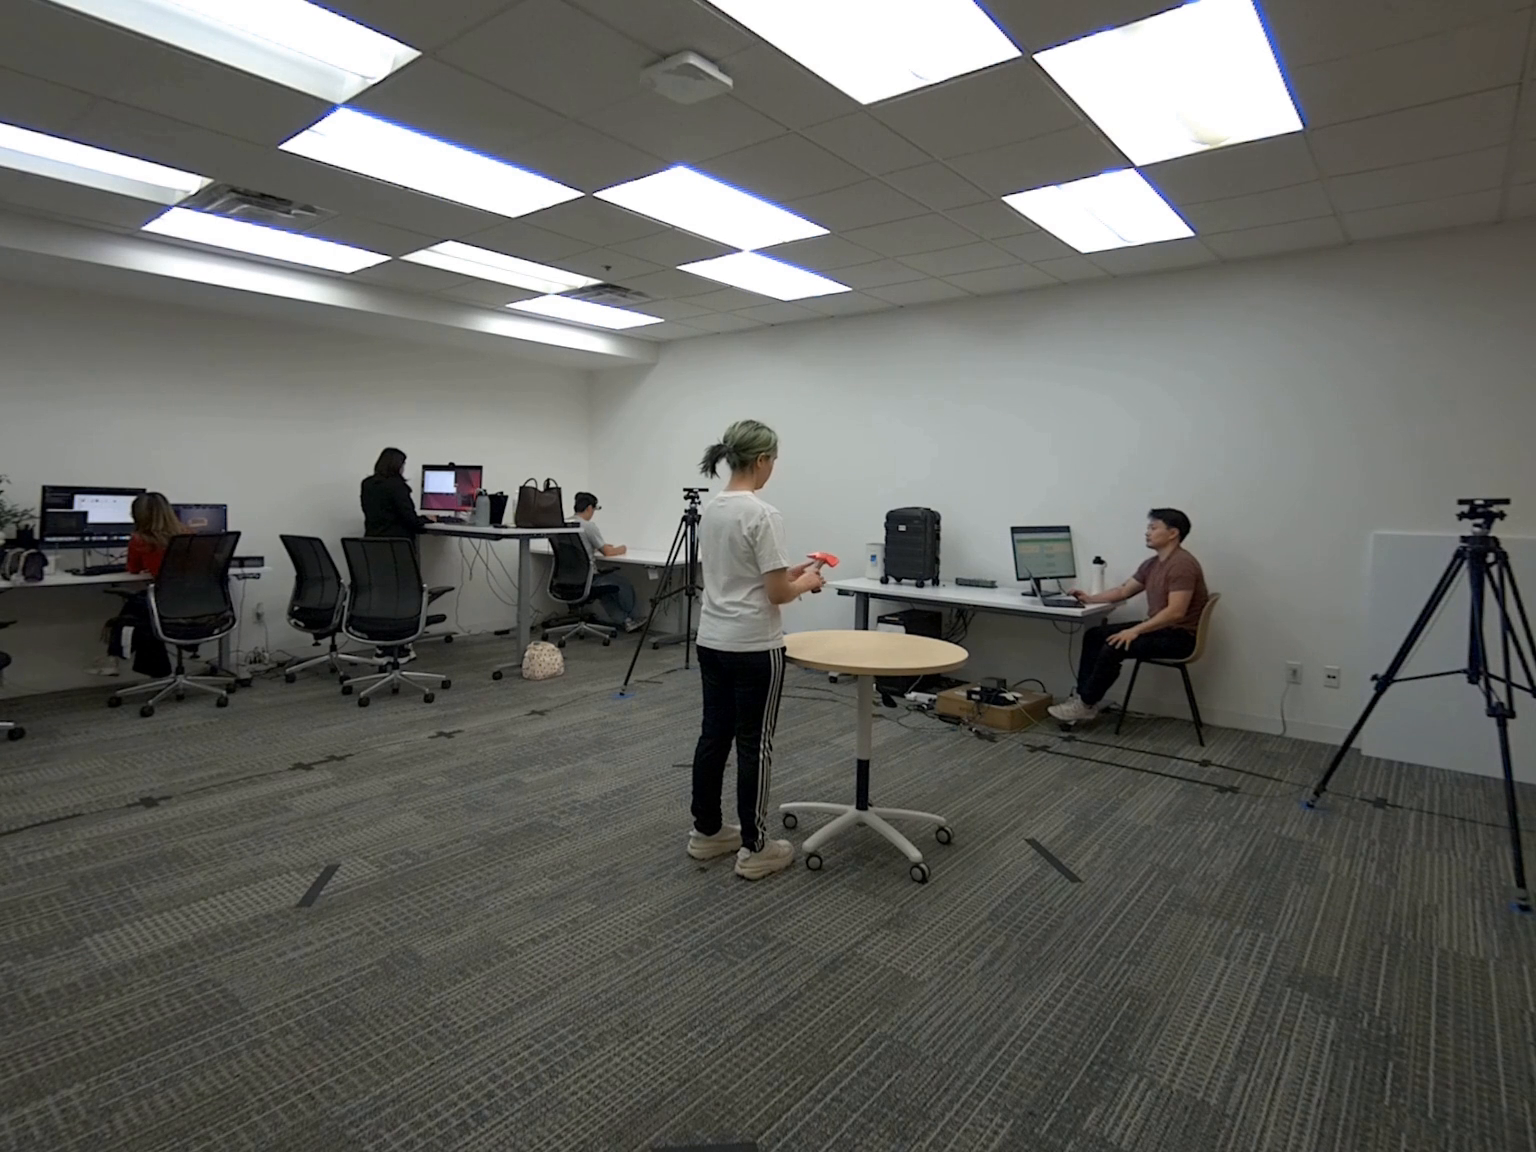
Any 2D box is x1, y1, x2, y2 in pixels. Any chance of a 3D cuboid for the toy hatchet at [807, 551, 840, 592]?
[{"bbox_3d":[0.217,-0.010,3.305,0.131,0.029,0.277,-2,31,-1],"label":"toy hatchet"}]
